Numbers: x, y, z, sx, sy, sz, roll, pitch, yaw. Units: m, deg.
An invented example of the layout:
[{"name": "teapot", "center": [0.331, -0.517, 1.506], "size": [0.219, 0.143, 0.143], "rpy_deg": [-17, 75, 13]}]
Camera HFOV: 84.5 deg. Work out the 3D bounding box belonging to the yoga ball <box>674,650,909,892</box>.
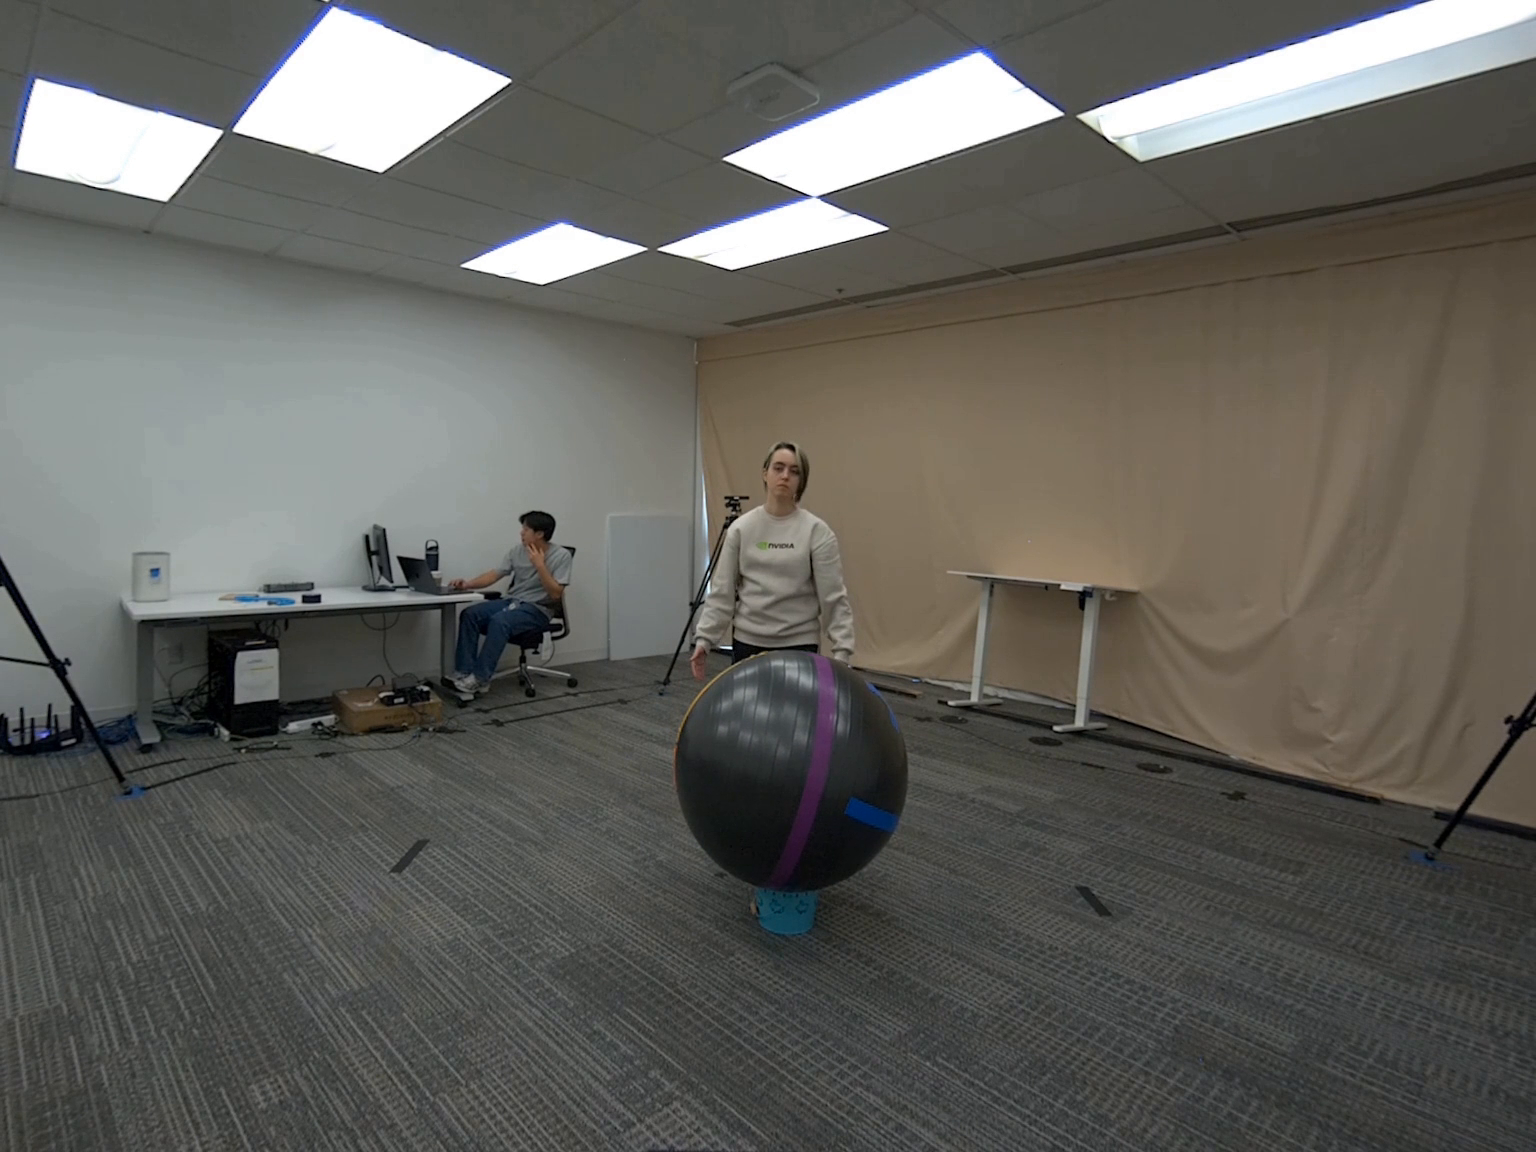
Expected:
[{"name": "yoga ball", "center": [0.062, 0.628, 2.752], "size": [0.757, 0.756, 0.761], "rpy_deg": [1, 4, -1]}]
